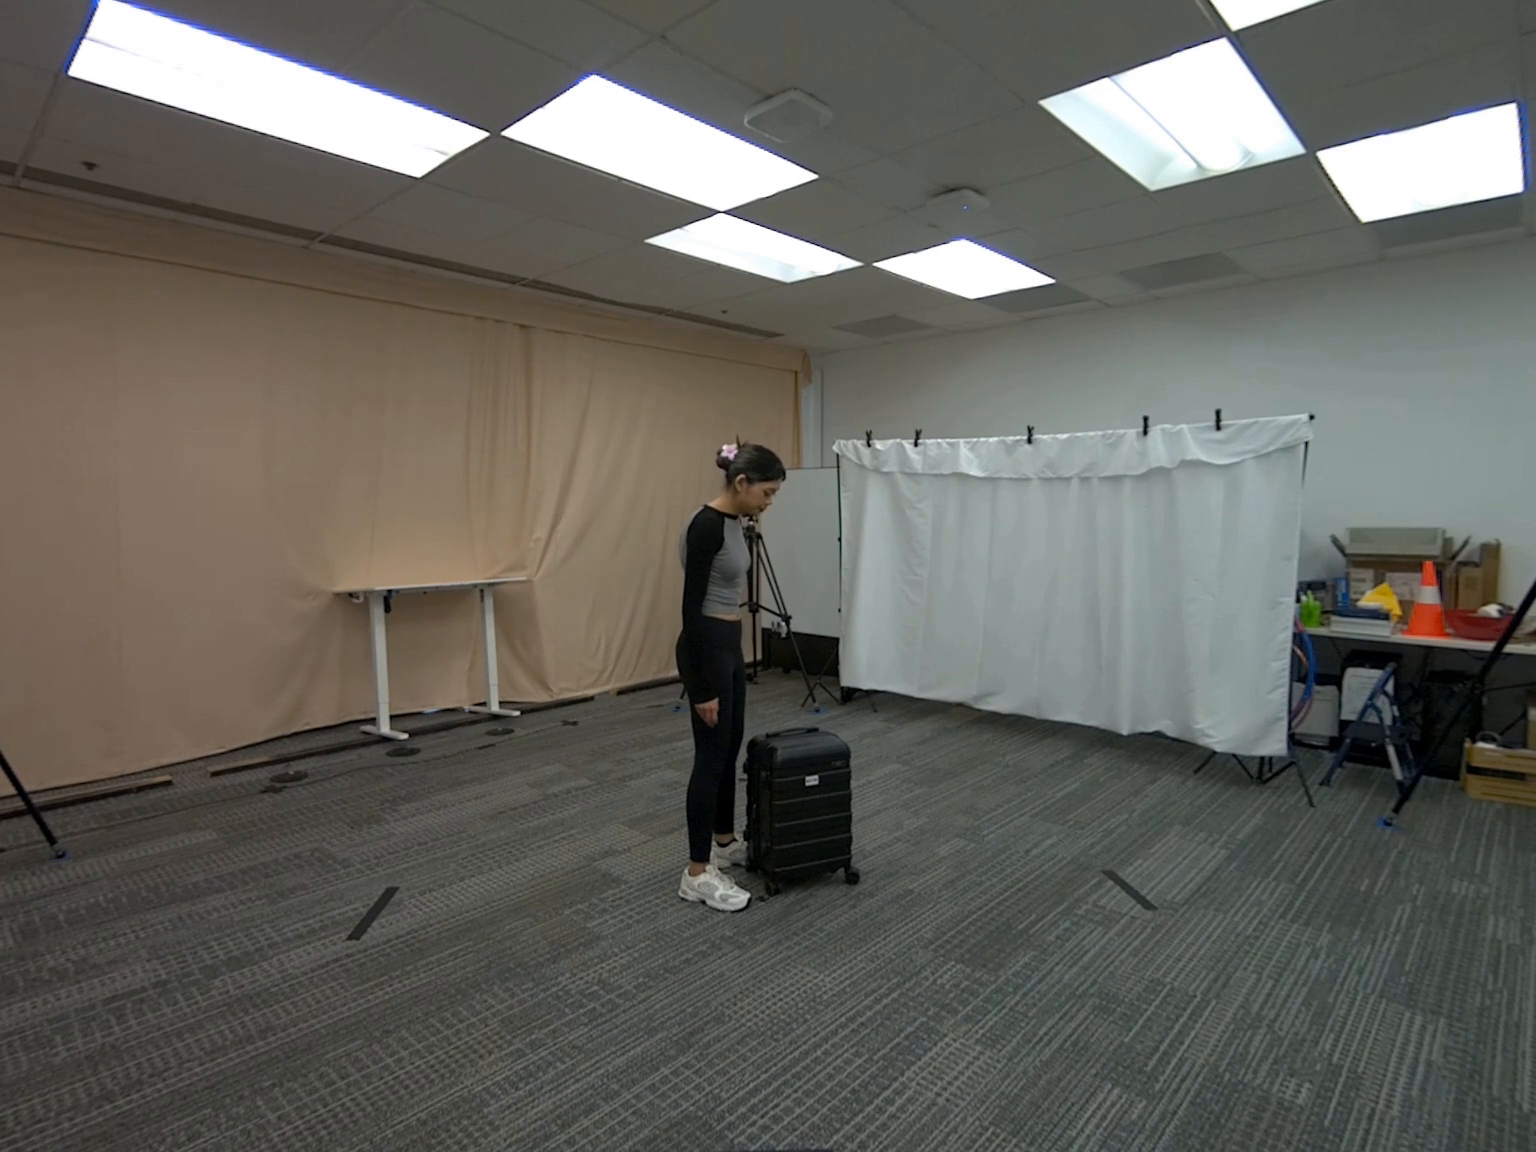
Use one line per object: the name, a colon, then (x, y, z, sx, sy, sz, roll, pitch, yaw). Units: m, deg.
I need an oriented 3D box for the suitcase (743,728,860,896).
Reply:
suitcase: (0.119, 0.850, 3.136, 0.367, 0.548, 0.254, -1, 3, -23)
